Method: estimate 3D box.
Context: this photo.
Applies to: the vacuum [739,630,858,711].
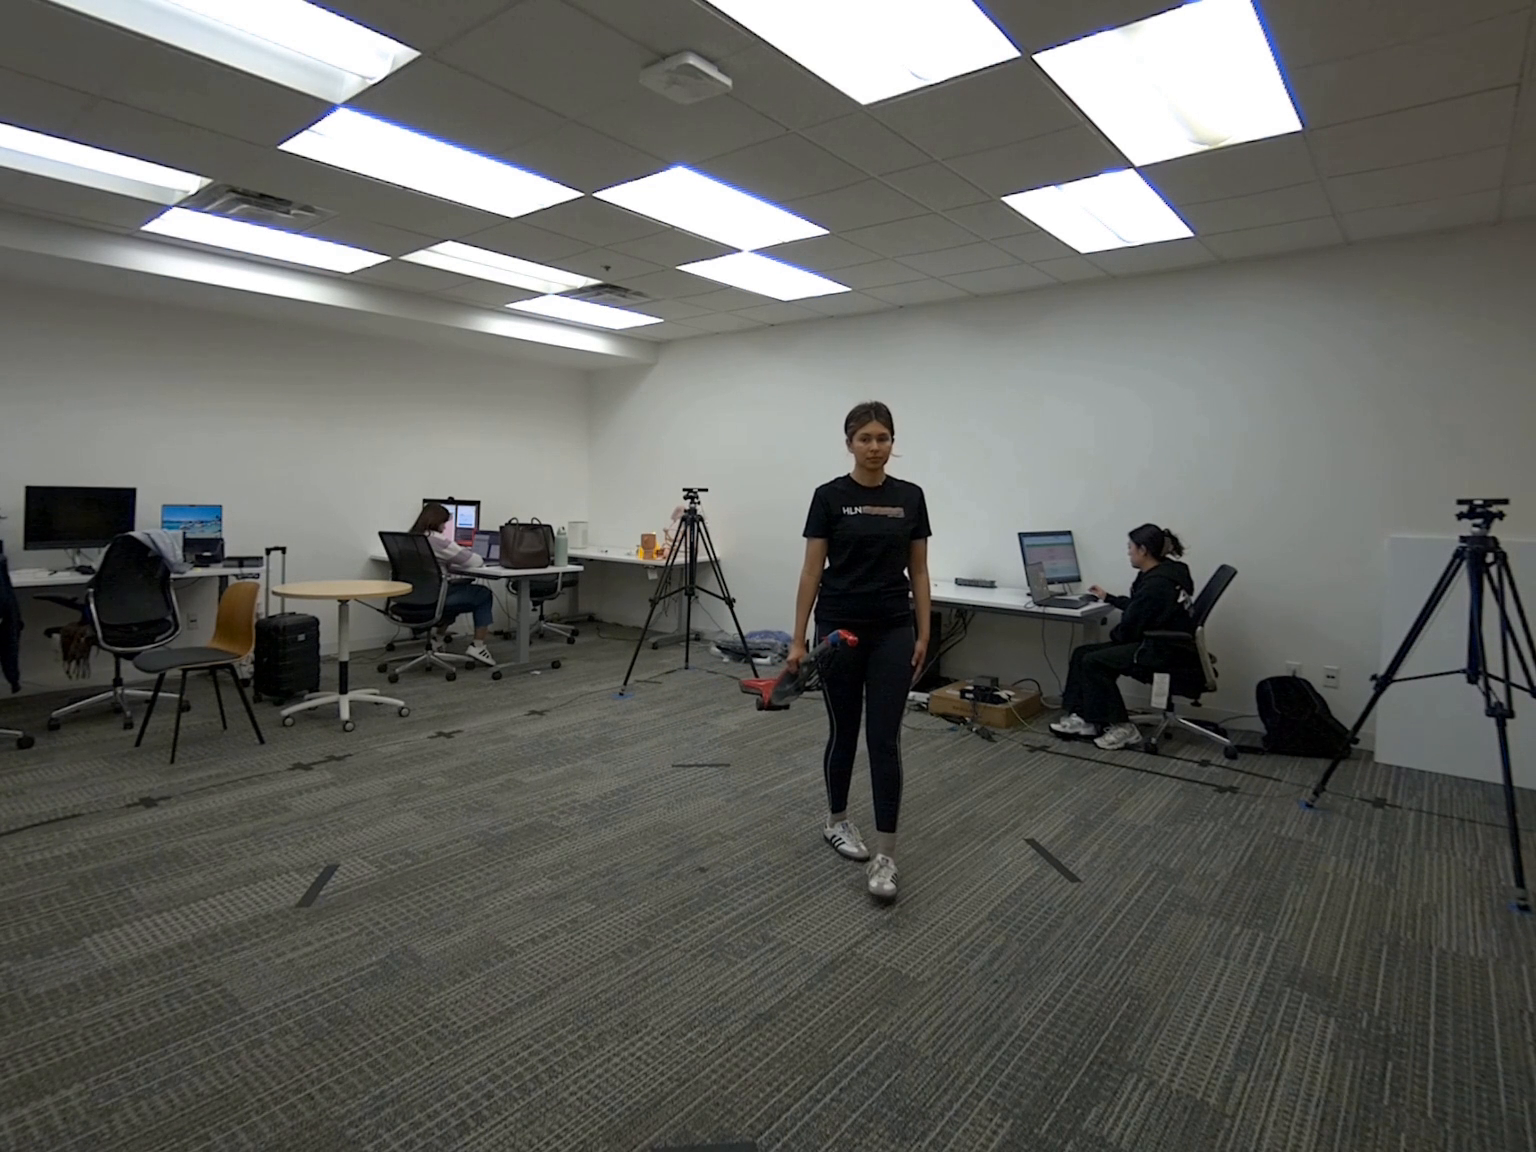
[{"bbox_3d":[0.124,0.344,3.051,0.249,0.147,1.044,-1,-18,-15],"label":"vacuum"}]
